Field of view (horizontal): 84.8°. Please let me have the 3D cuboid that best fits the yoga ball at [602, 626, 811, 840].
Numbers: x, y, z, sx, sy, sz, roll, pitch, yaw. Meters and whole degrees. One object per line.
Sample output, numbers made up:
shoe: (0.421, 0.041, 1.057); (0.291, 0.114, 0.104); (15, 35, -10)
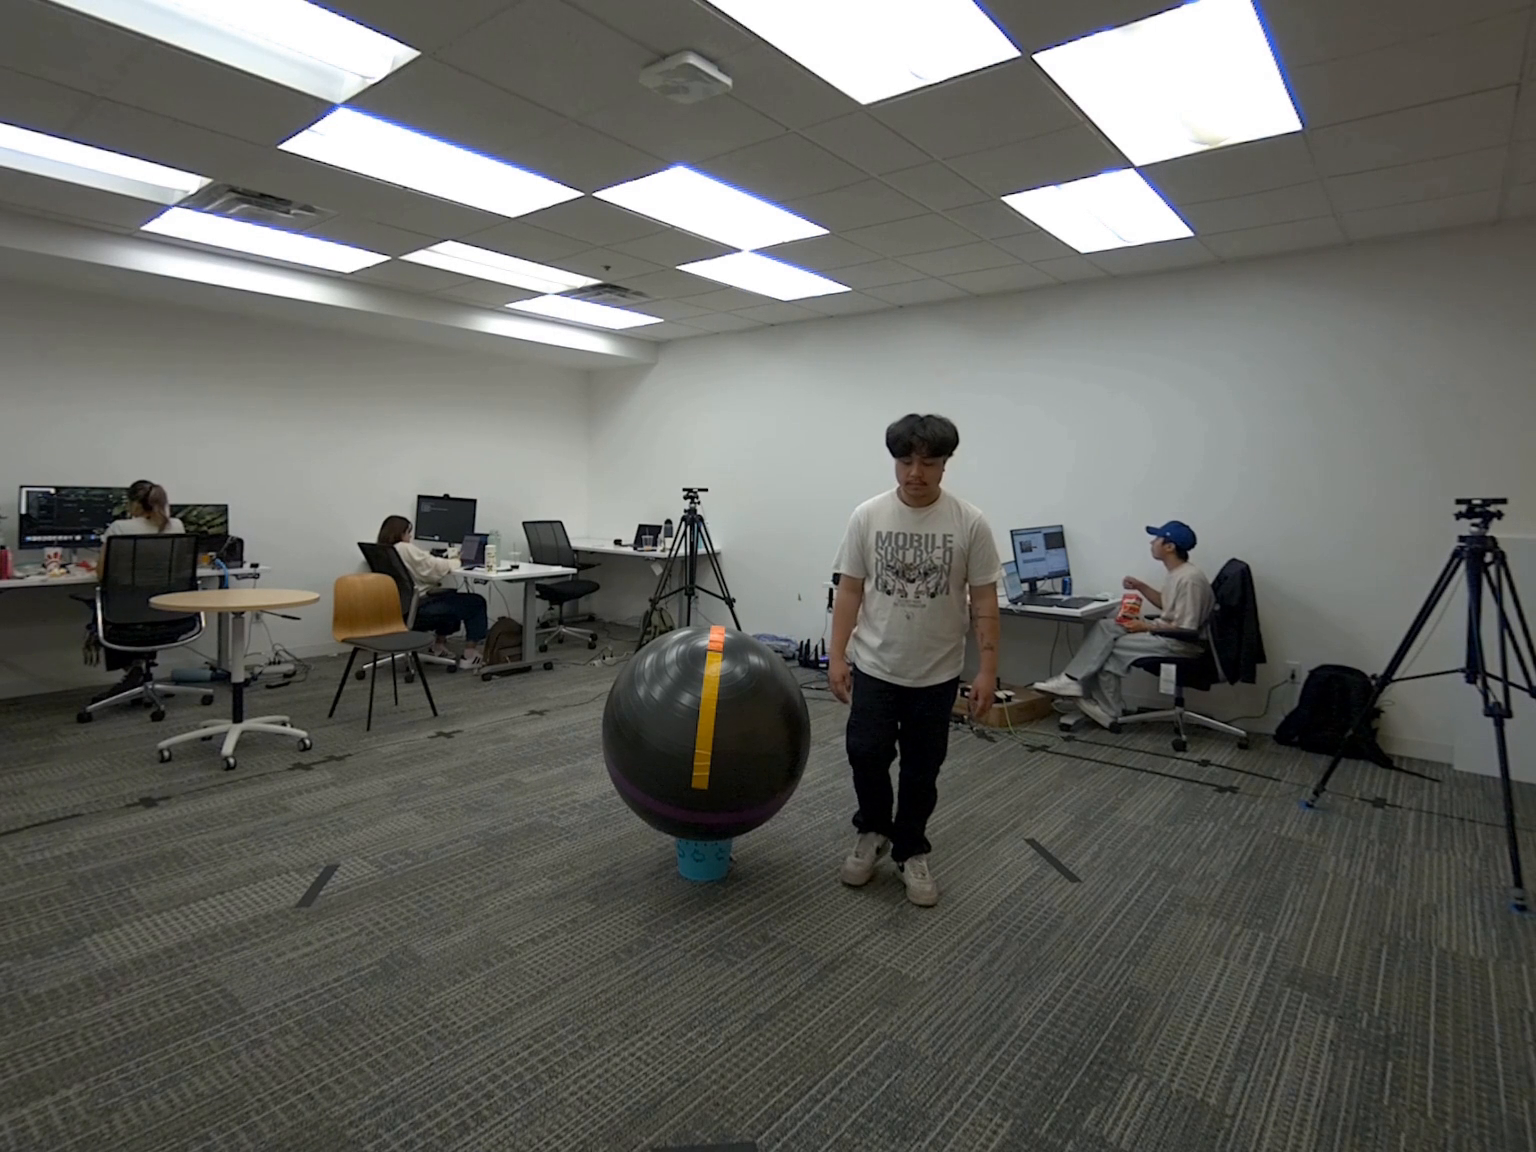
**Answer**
yoga ball: (-0.230, 0.559, 3.084); (0.757, 0.756, 0.761); (1, 4, -2)
